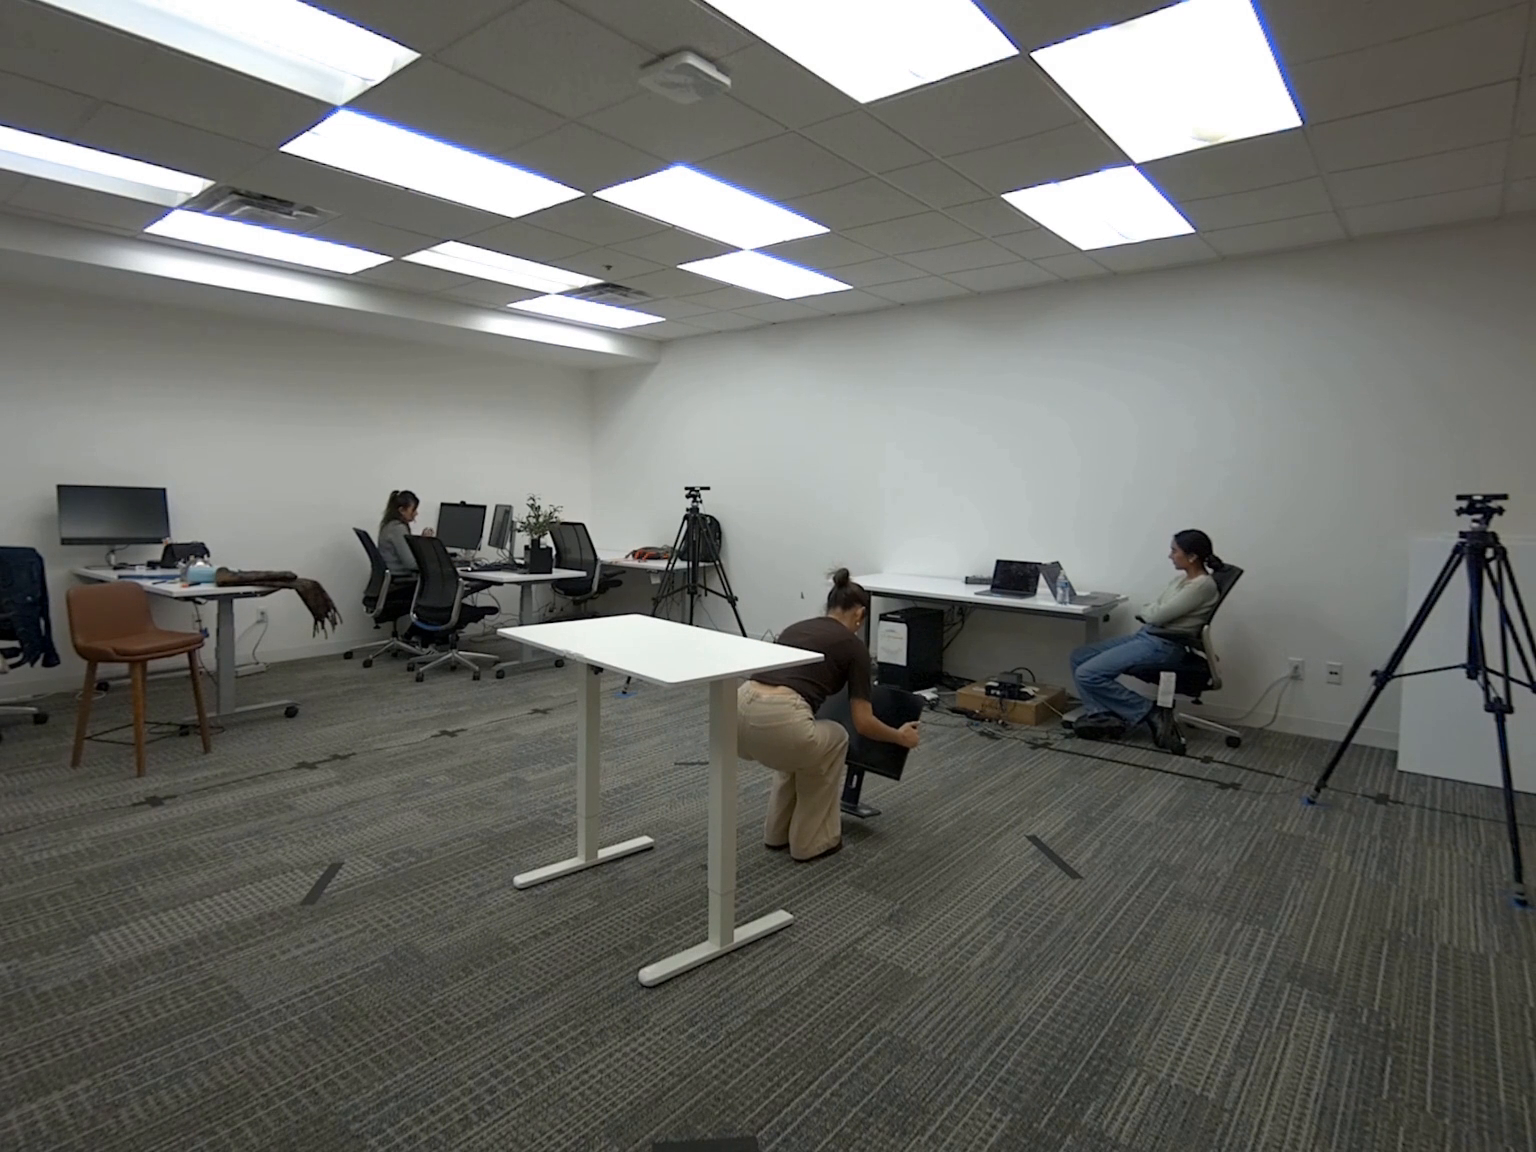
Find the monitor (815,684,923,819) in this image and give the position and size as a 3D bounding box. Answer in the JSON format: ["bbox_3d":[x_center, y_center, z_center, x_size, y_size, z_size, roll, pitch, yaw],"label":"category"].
[{"bbox_3d":[0.361,0.707,3.555,0.558,0.524,0.180,7,-6,39],"label":"monitor"}]
